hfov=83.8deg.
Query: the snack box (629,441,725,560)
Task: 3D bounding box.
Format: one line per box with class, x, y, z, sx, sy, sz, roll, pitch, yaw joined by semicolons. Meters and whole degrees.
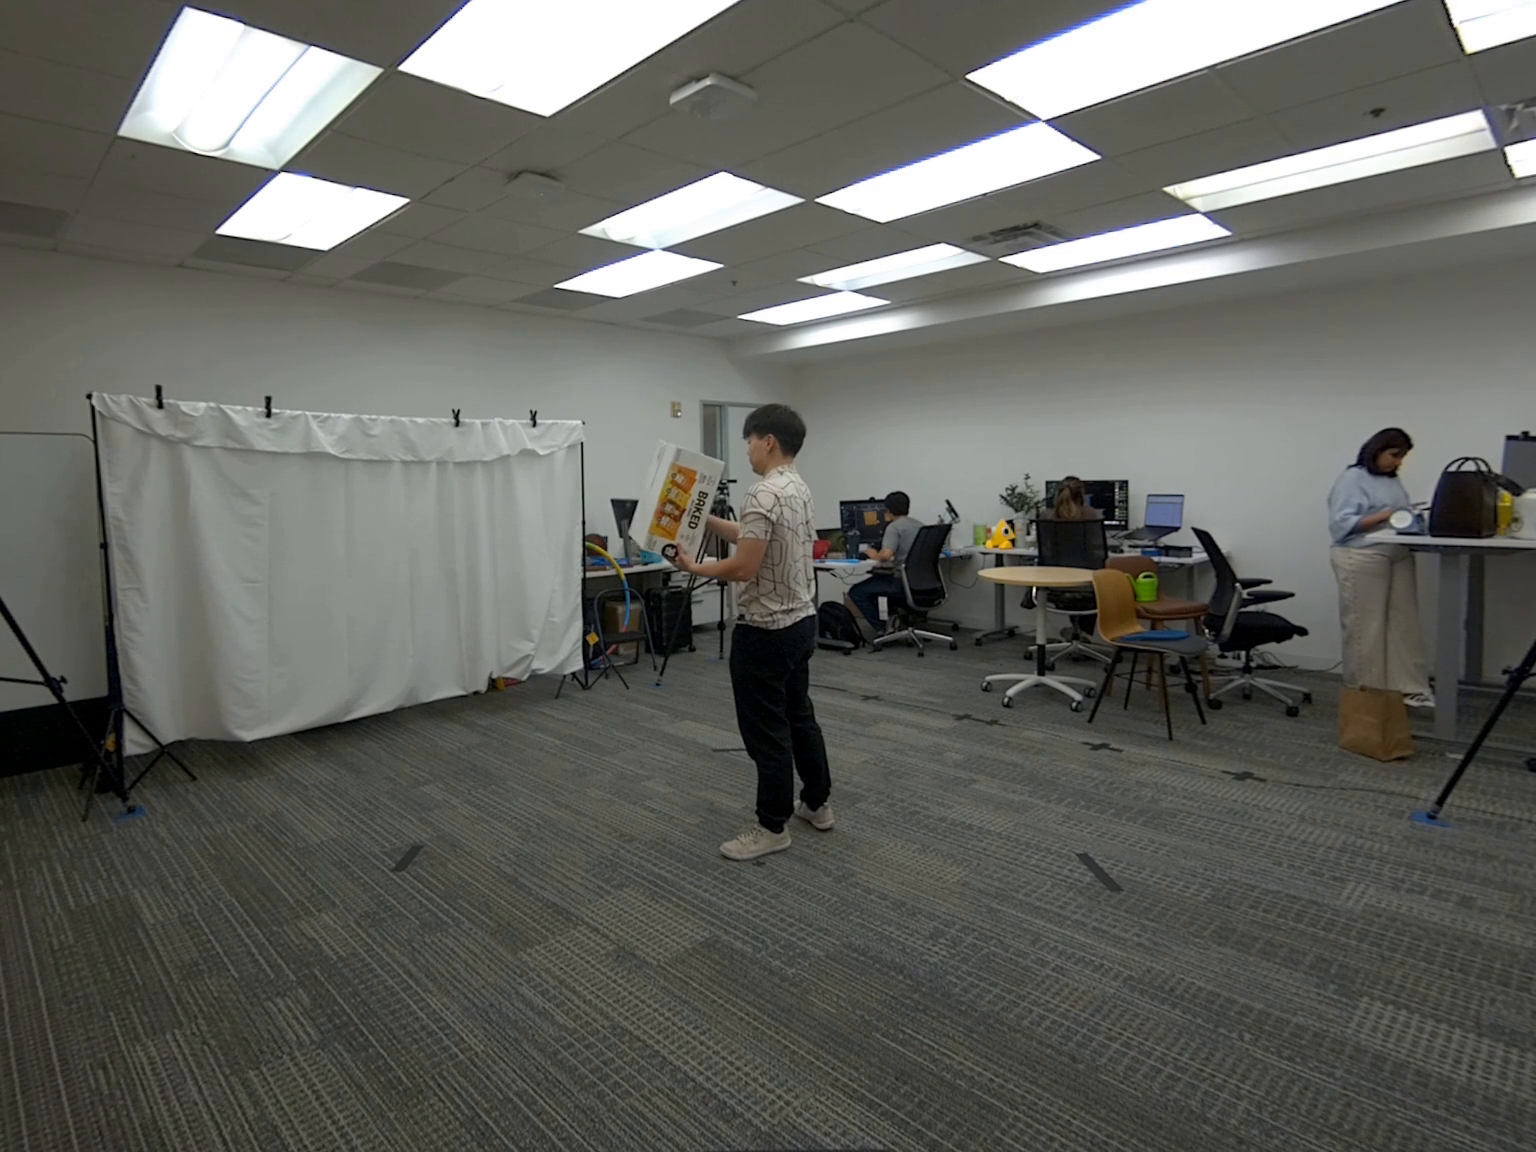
snack box;-0.363;-0.299;3.342;0.201;0.404;0.349;16;6;-19
